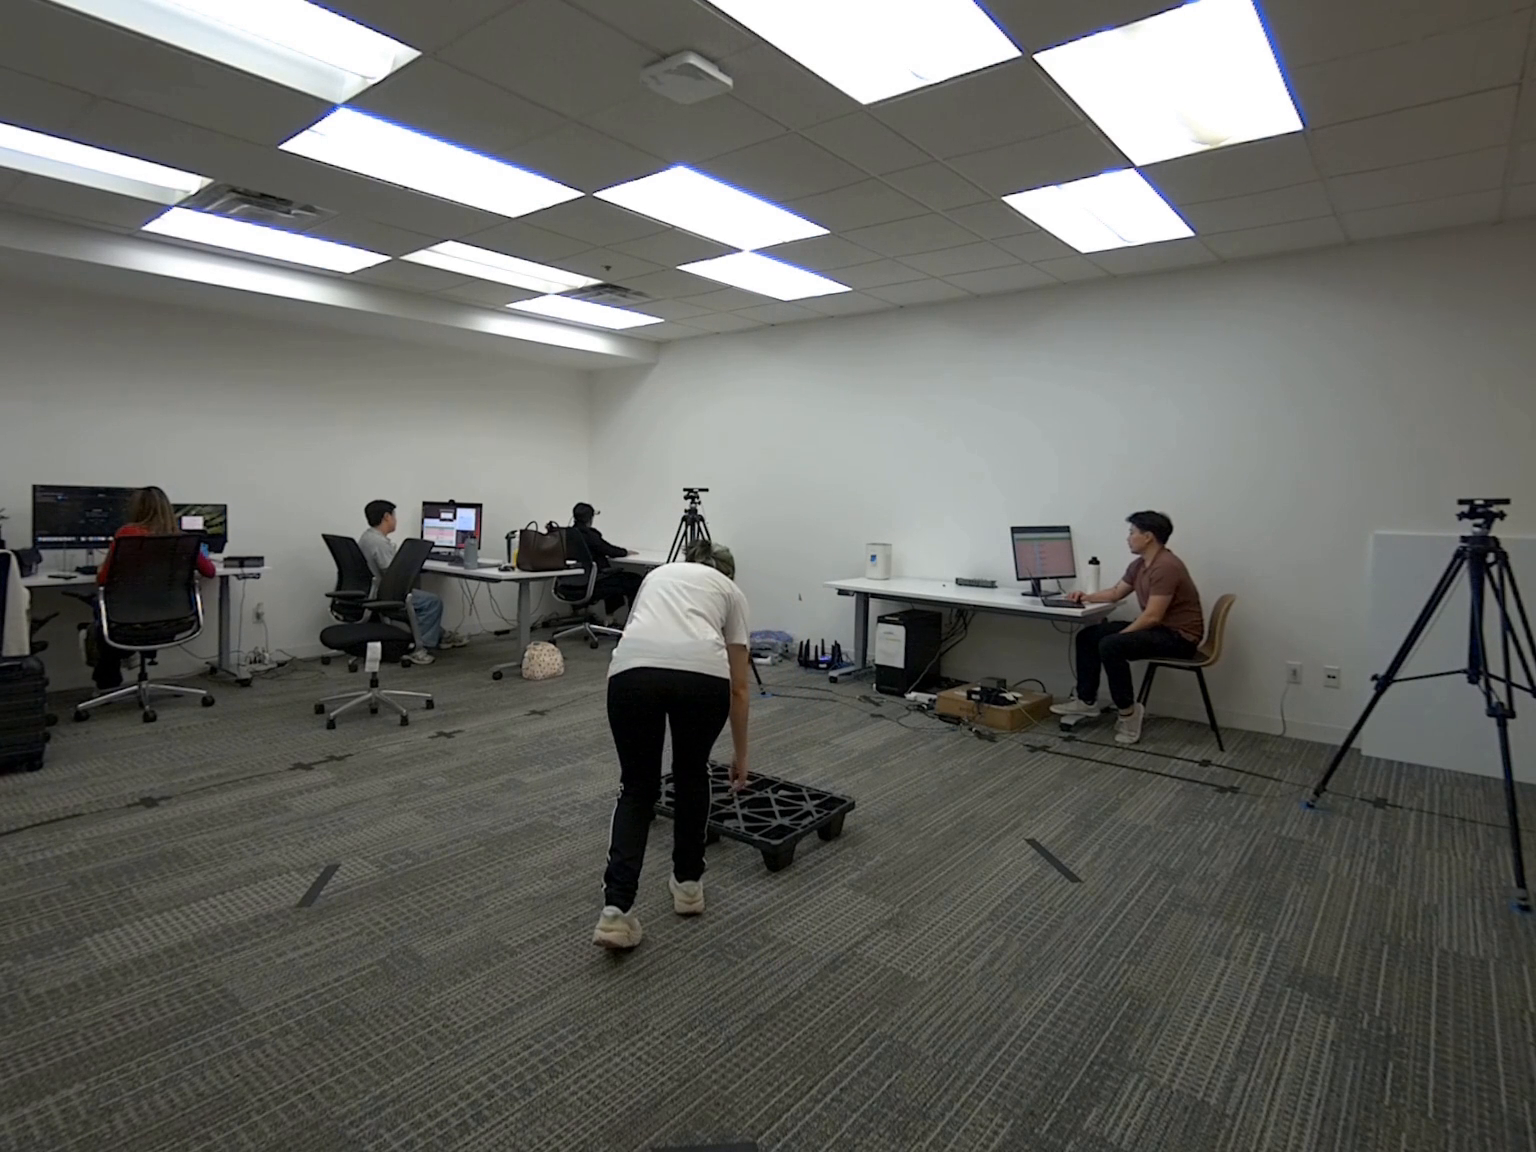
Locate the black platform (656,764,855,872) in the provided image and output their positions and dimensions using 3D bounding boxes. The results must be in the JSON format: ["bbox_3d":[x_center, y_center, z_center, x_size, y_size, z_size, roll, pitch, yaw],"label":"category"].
[{"bbox_3d":[-0.137,0.969,3.491,0.832,0.143,0.588,5,7,36],"label":"black platform"}]
